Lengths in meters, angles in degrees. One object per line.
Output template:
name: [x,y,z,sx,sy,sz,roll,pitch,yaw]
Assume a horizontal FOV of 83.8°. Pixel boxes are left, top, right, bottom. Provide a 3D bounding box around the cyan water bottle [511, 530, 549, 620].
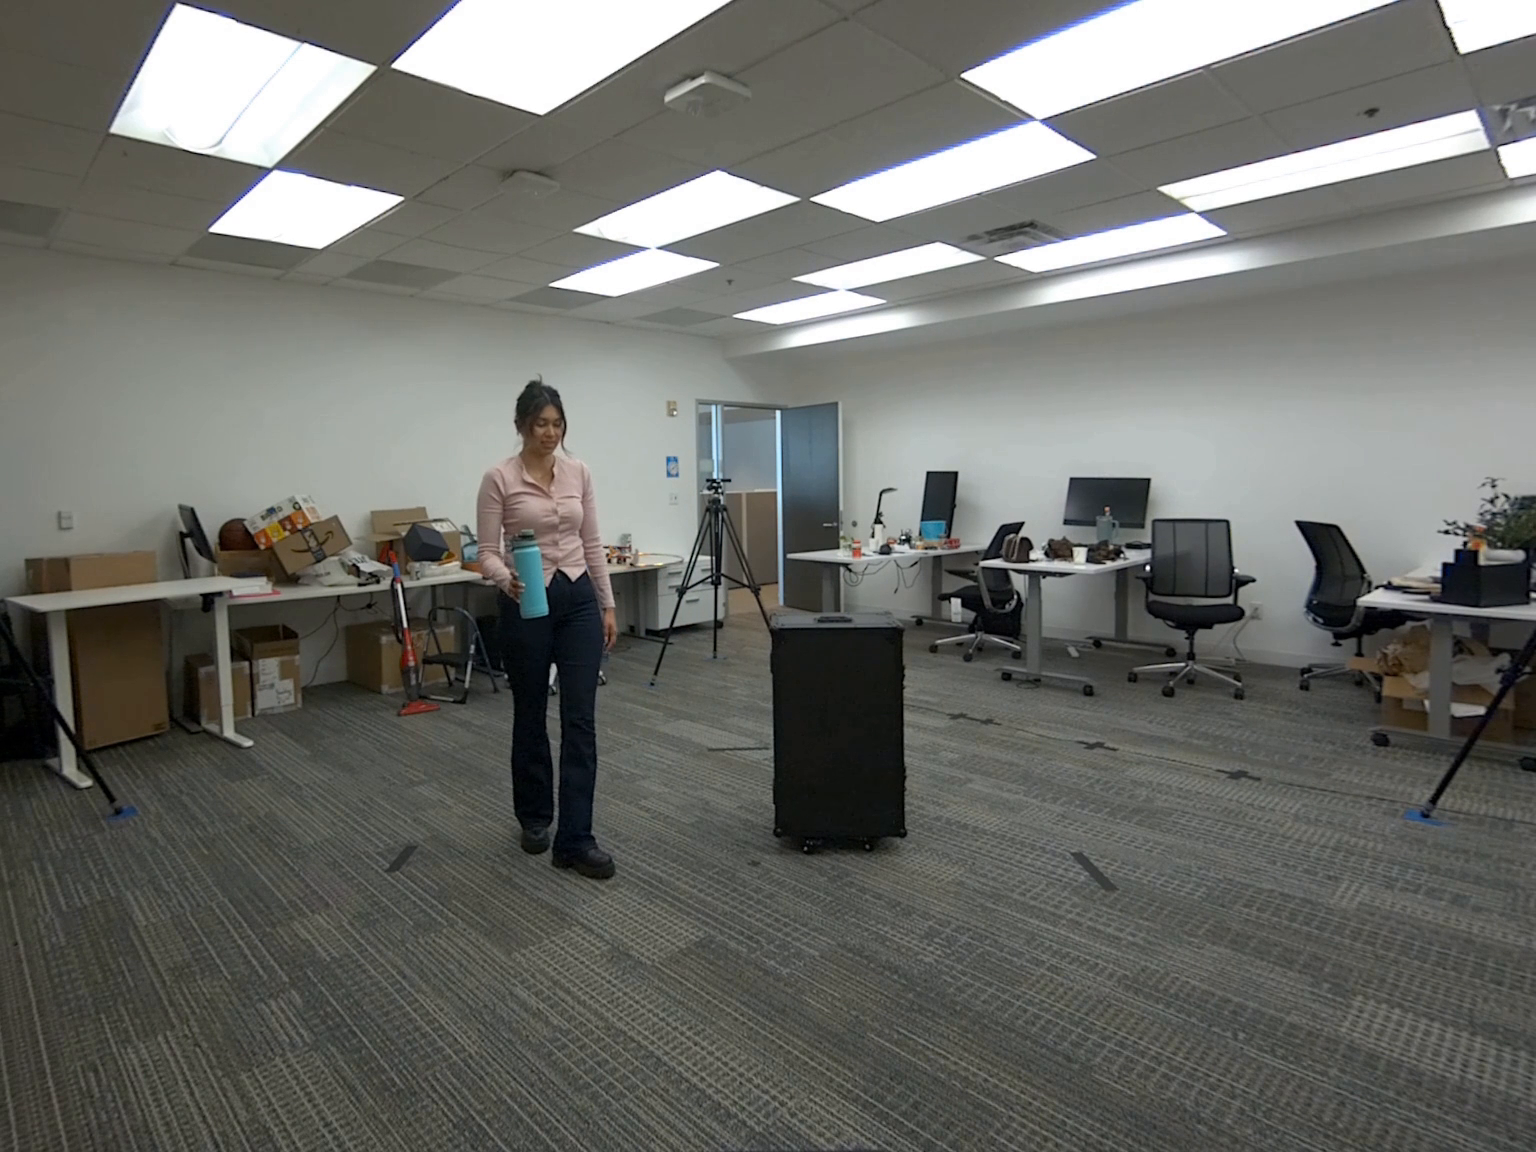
cyan water bottle: [-0.790,-0.009,2.795,0.092,0.282,0.093,-7,4,-1]
